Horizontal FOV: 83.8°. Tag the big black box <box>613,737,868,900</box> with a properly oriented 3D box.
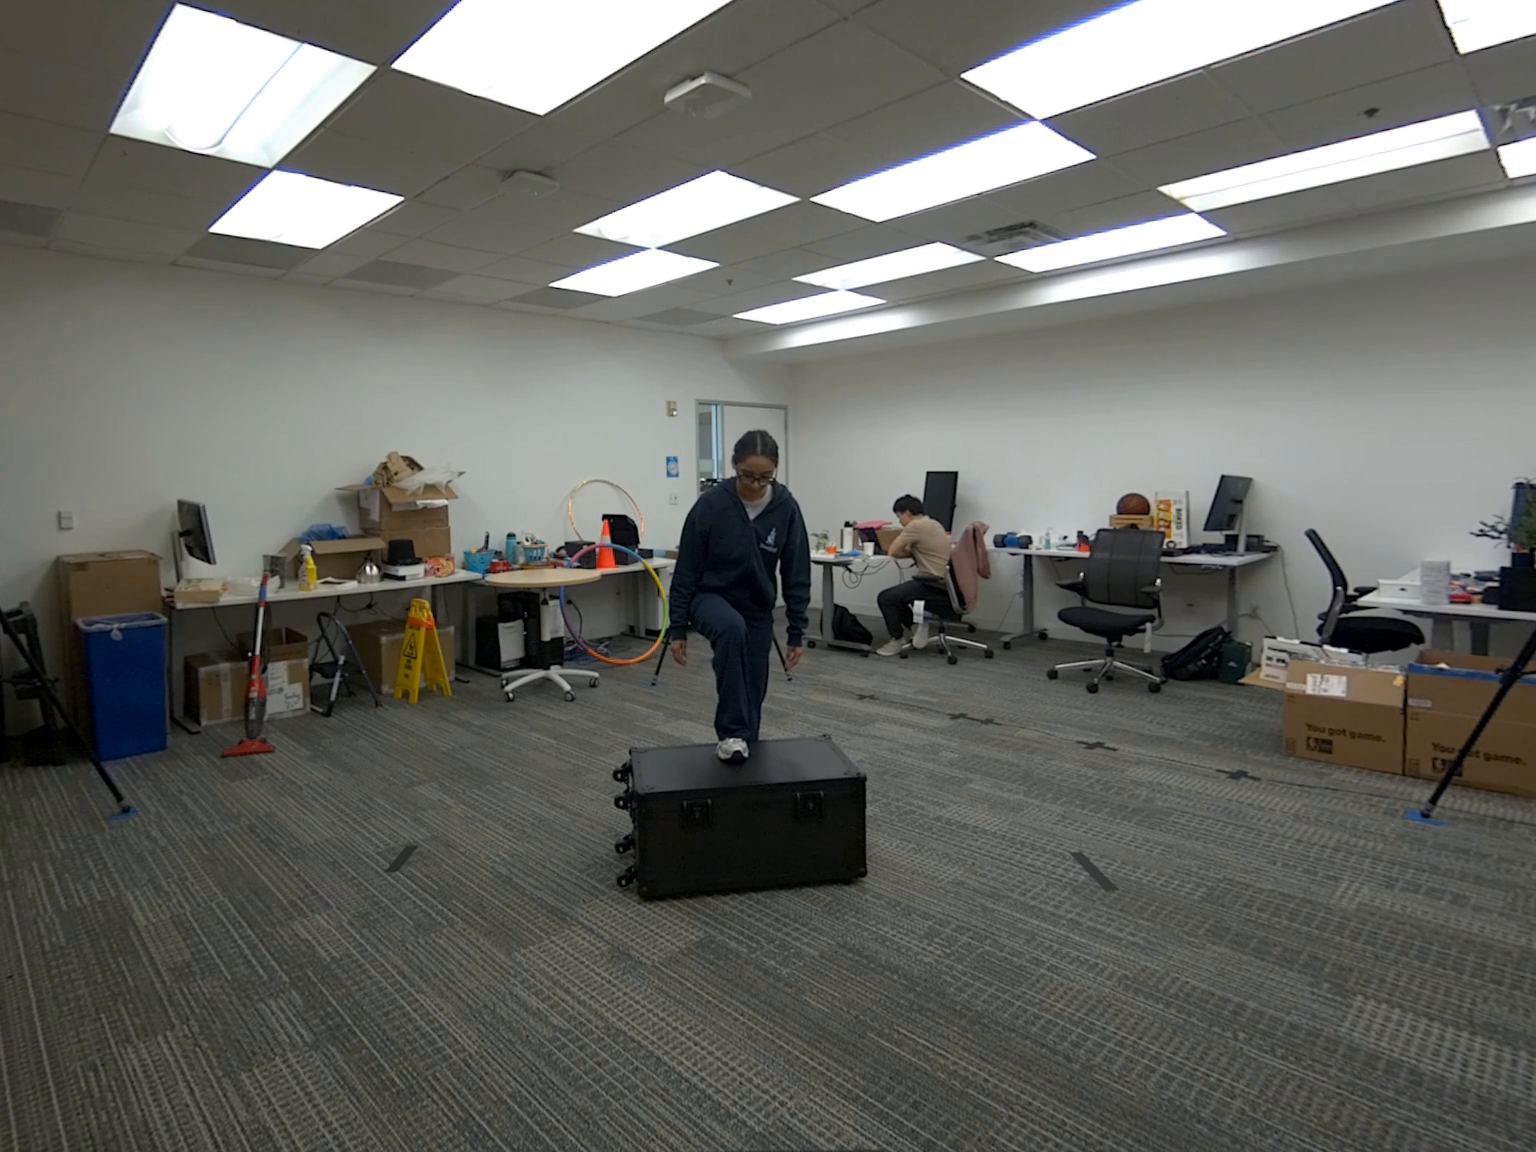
[{"bbox_3d":[-0.126,0.855,3.094,0.854,0.395,0.528,-2,5,-10],"label":"big black box"}]
